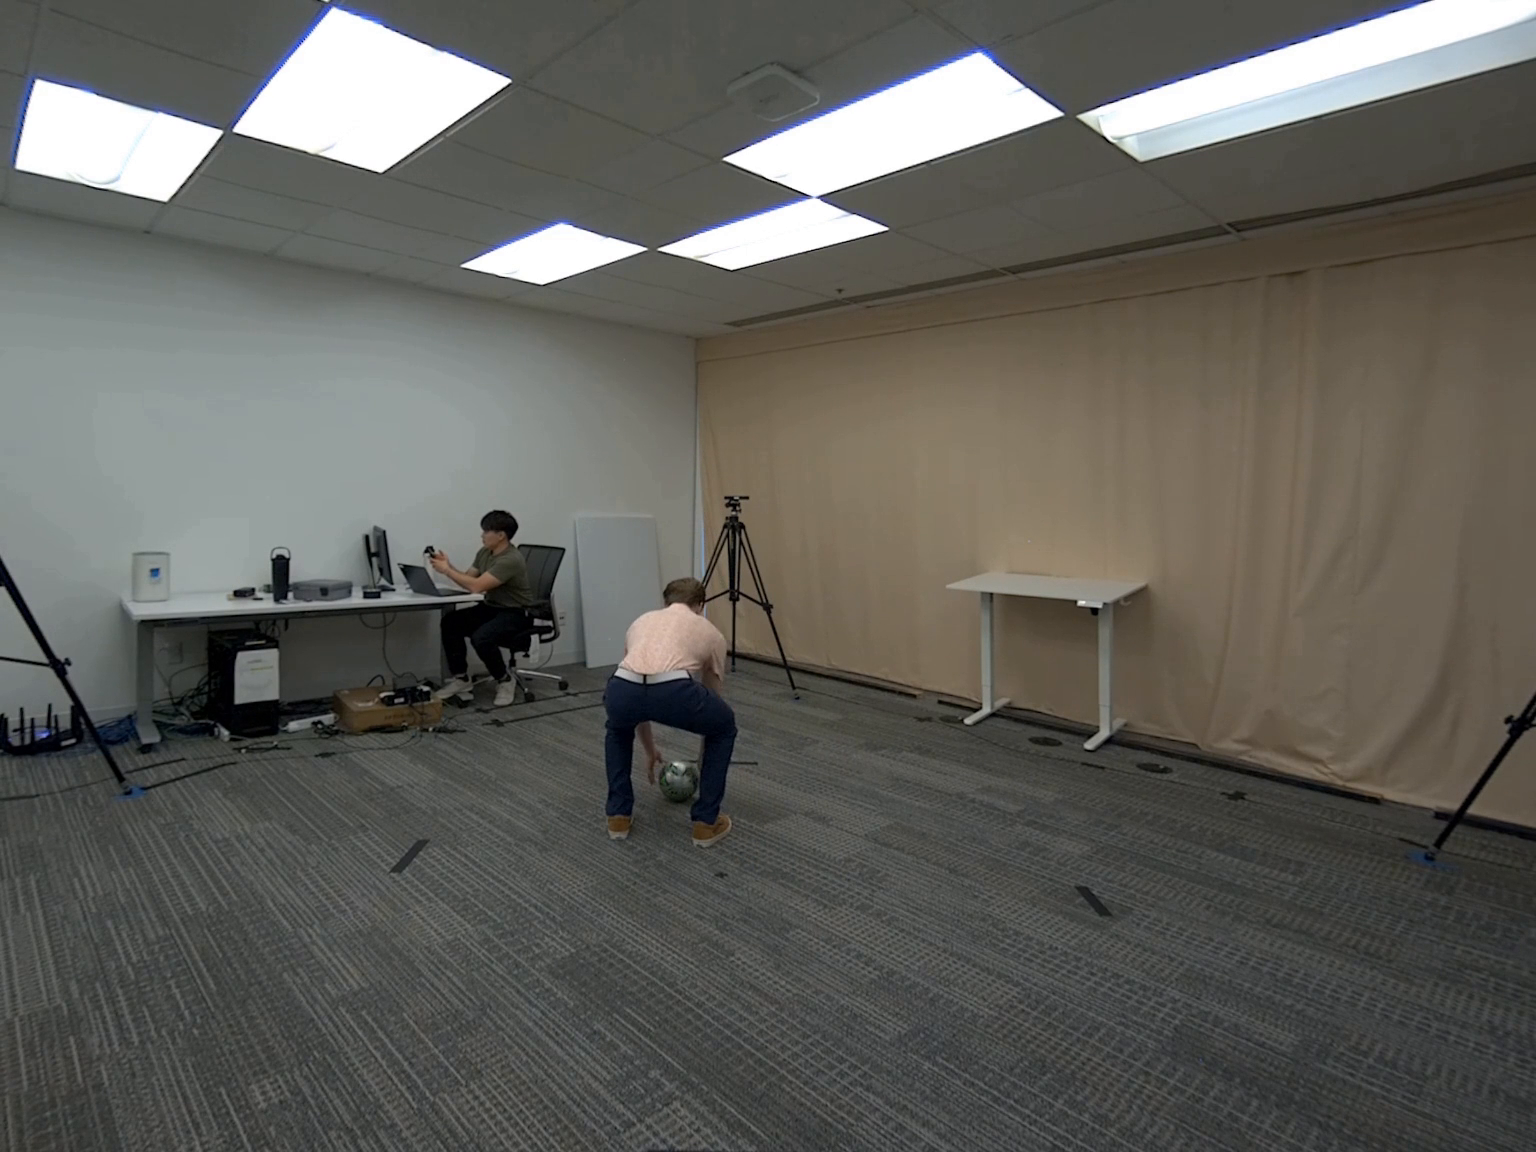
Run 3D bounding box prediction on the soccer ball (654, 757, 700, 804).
[{"bbox_3d":[-0.420,0.932,3.864,0.187,0.187,0.188,1,4,-1],"label":"soccer ball"}]
